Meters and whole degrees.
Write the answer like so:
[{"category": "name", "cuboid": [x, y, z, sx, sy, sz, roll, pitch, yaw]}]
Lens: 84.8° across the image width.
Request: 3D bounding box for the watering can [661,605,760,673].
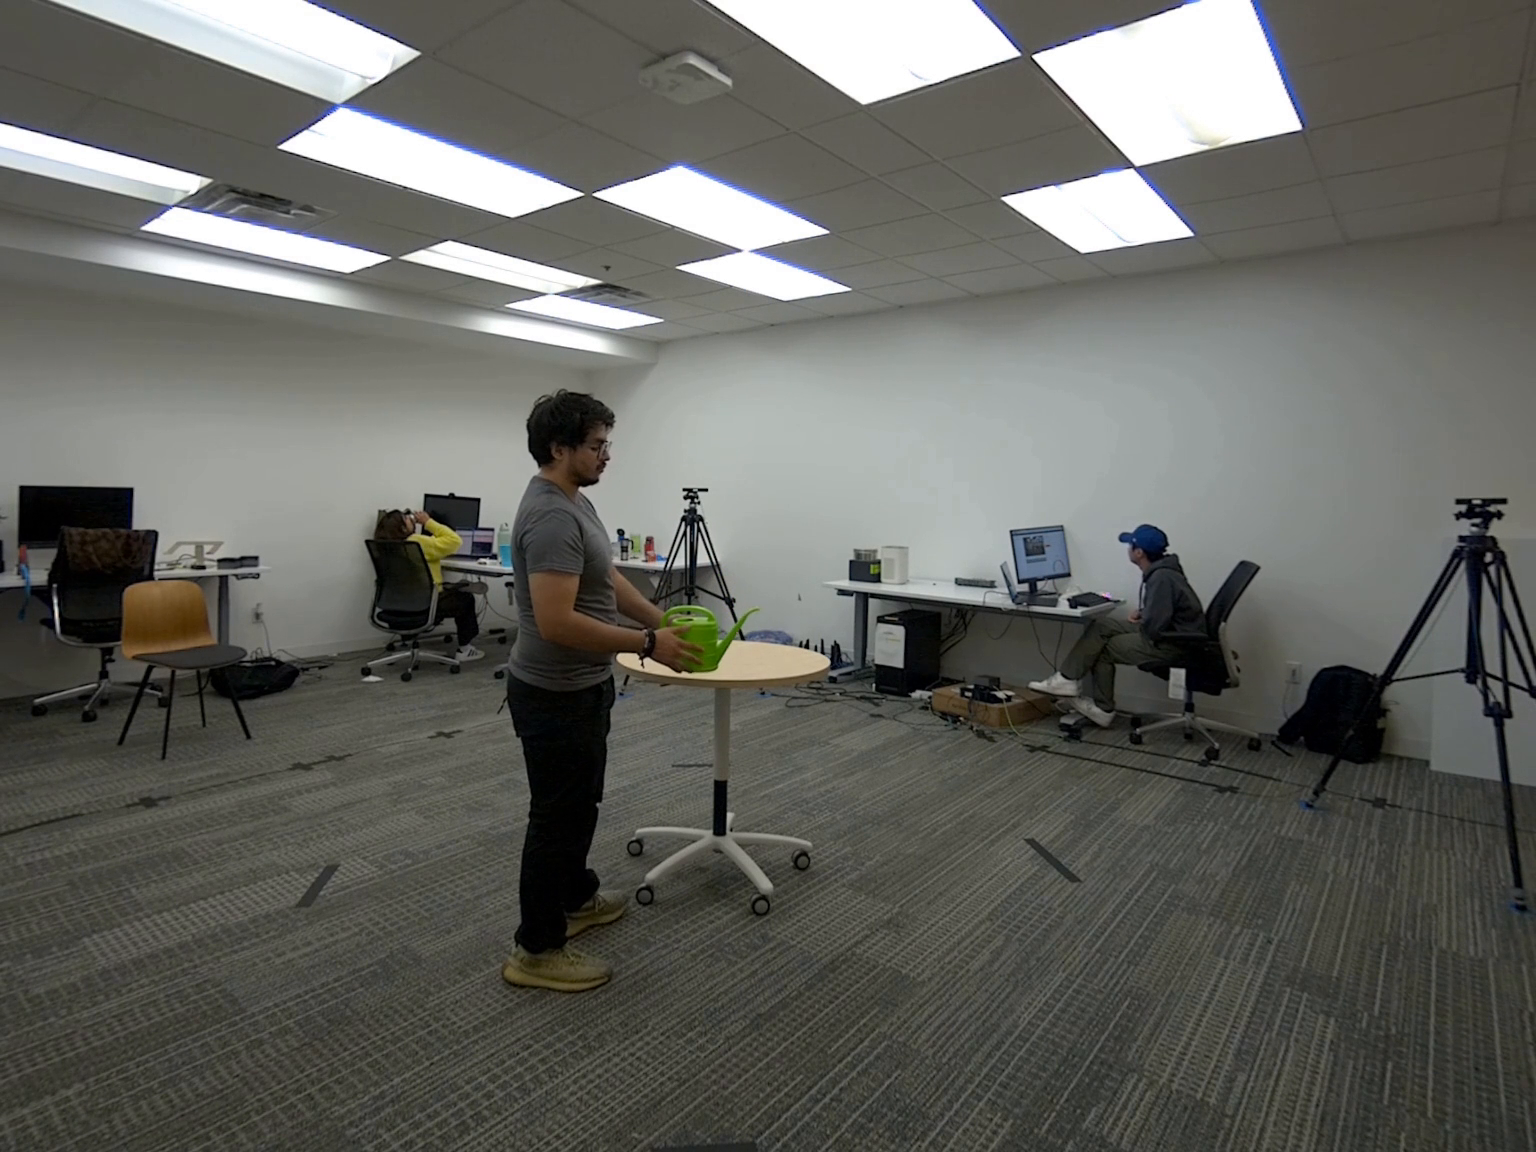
[{"category": "watering can", "cuboid": [-0.170, 0.170, 2.310, 0.283, 0.175, 0.097, 2, 8, 16]}]
